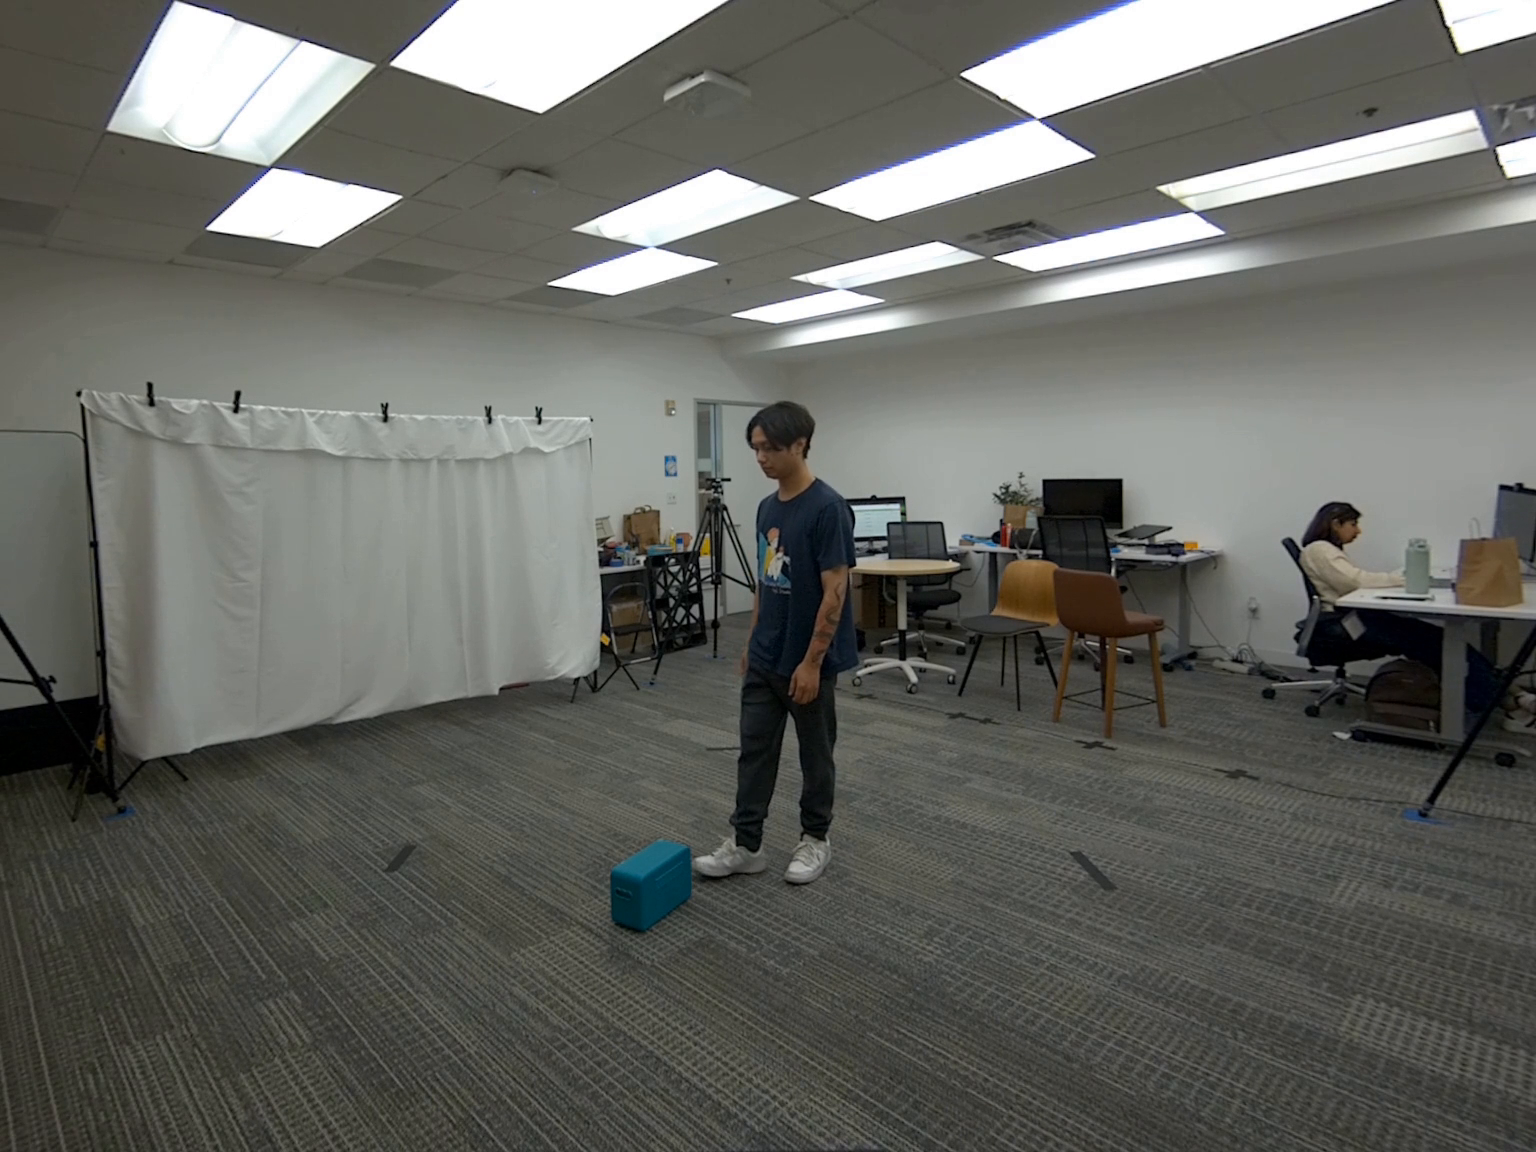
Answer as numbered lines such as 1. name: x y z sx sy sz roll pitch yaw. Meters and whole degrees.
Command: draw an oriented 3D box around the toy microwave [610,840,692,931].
1. toy microwave: -0.378 0.995 2.774 0.156 0.183 0.280 1 7 30
